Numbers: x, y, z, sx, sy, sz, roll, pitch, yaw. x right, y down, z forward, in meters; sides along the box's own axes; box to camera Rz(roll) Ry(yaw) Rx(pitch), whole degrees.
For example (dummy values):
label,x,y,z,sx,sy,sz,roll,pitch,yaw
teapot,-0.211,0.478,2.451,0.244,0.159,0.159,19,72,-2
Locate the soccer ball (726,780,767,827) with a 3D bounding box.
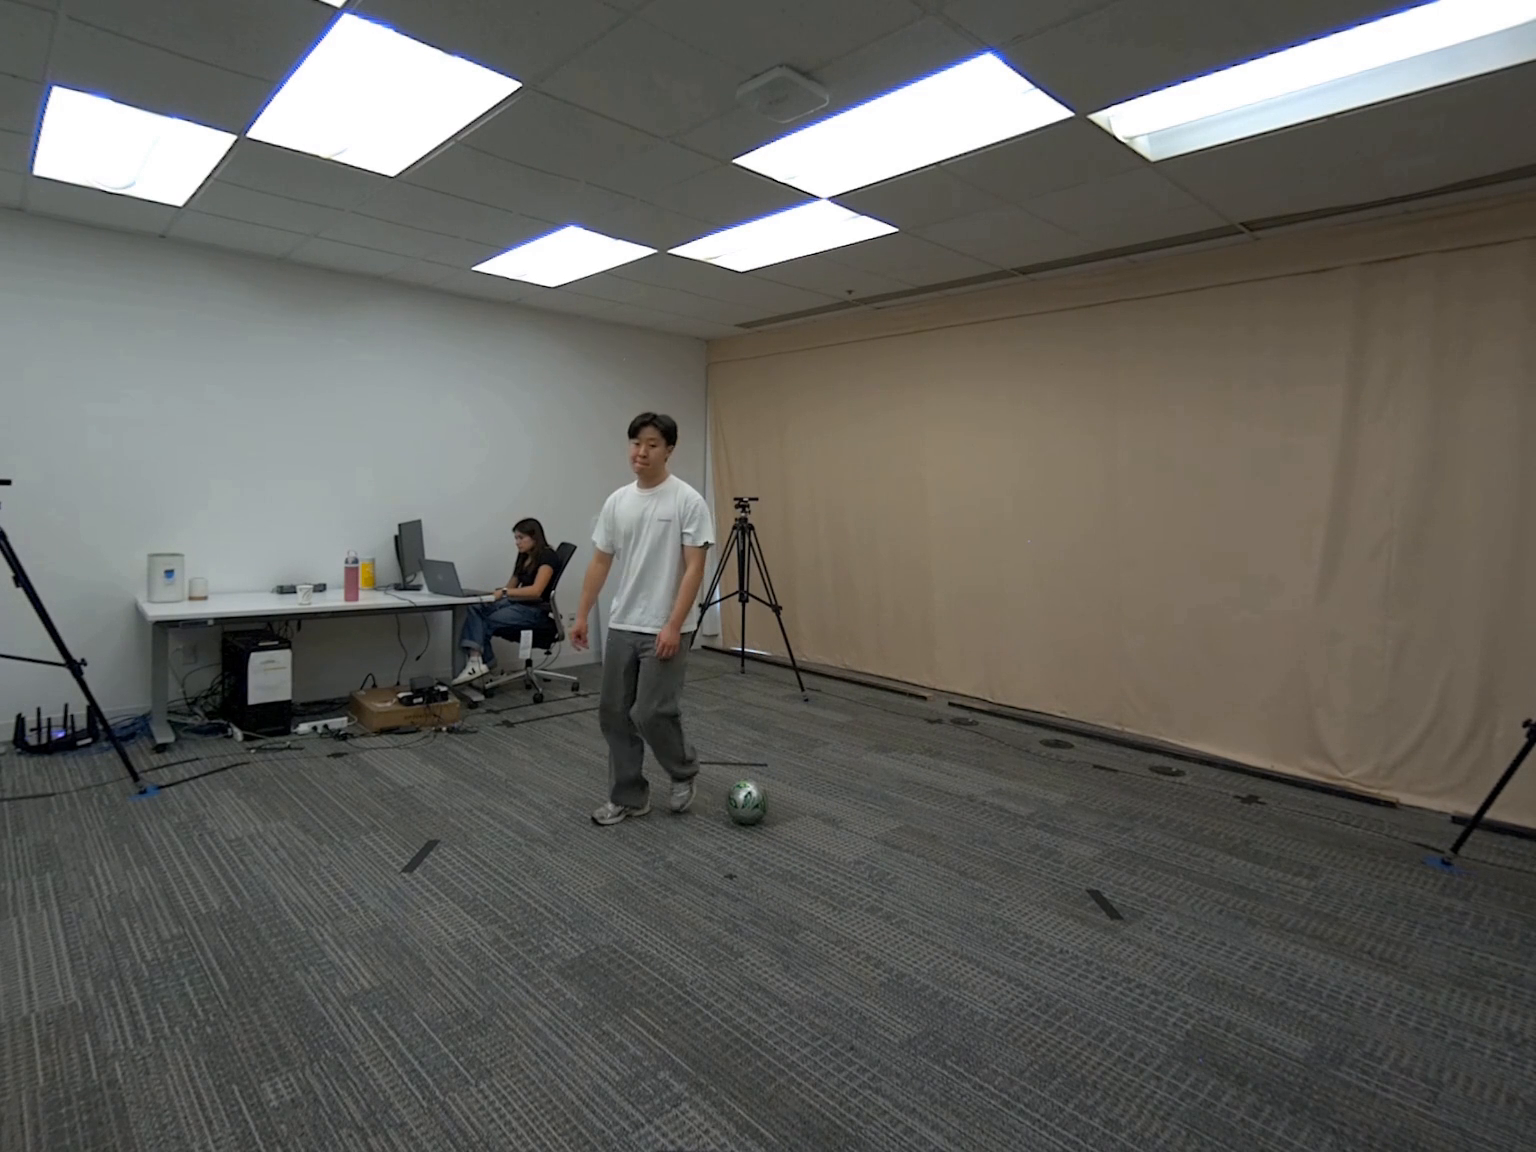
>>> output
label,x,y,z,sx,sy,sz,roll,pitch,yaw
soccer ball,-0.103,0.975,3.617,0.187,0.187,0.188,1,4,-1
